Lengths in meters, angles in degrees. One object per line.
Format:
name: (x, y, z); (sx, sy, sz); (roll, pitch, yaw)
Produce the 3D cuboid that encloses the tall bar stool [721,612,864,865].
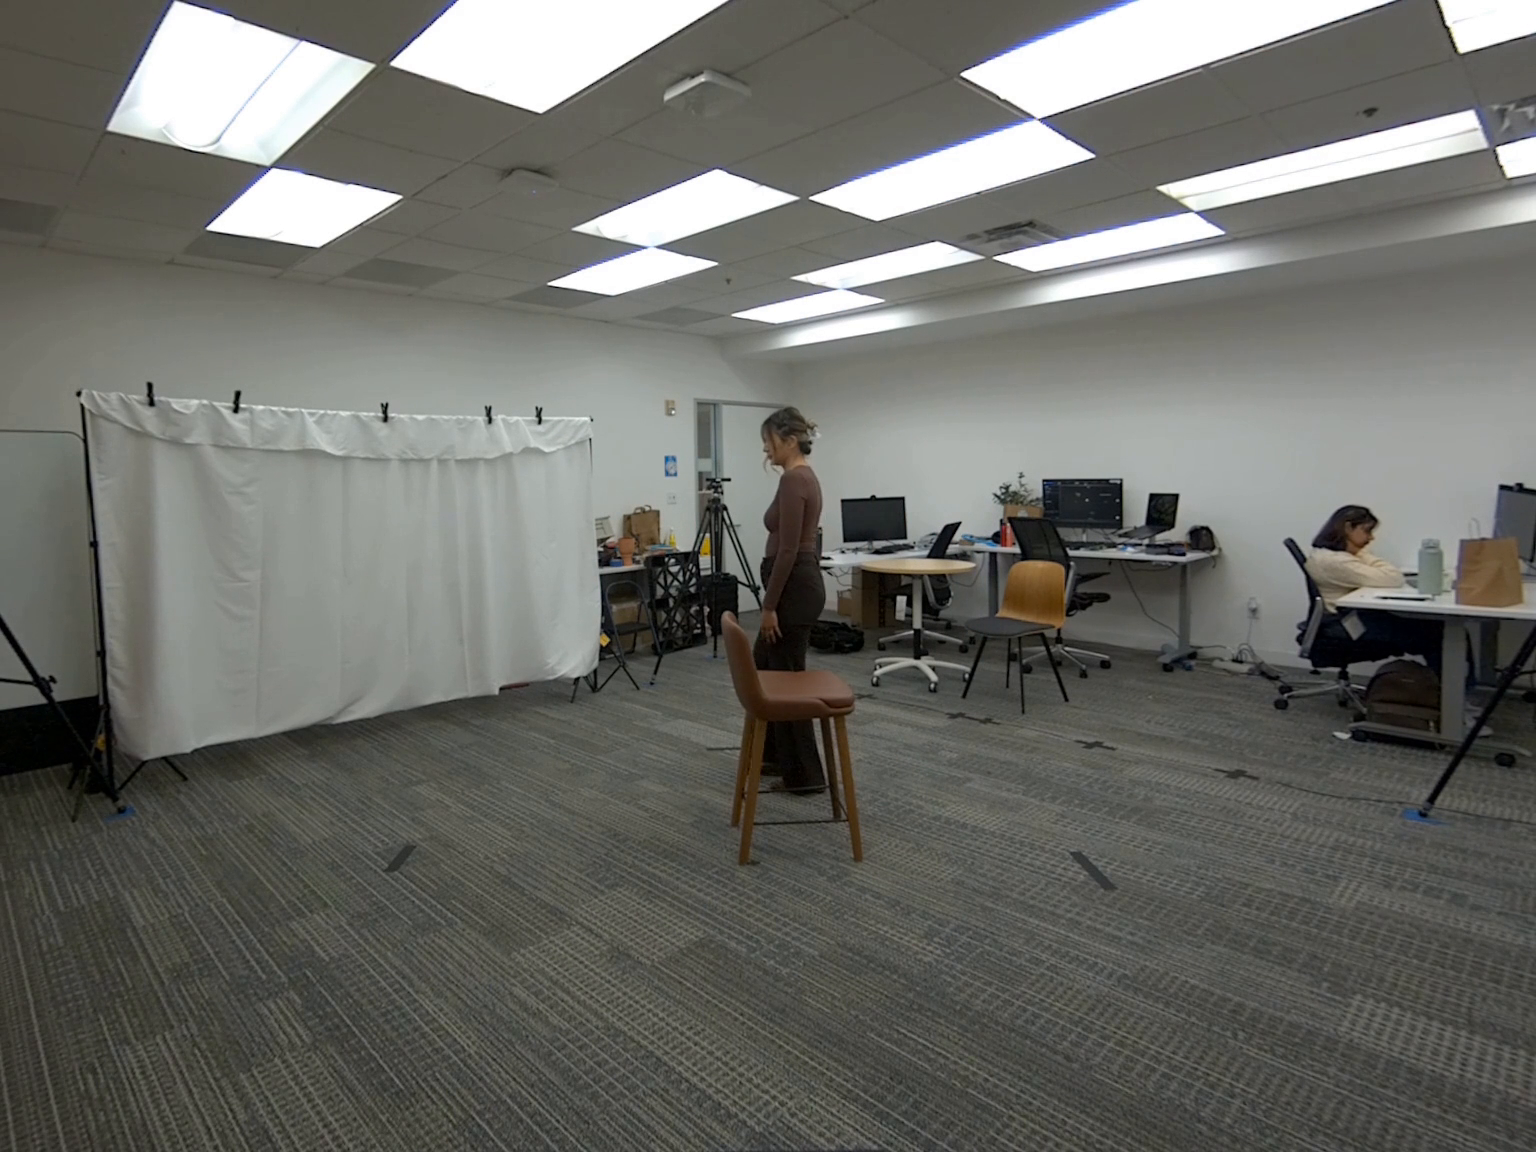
tall bar stool: (0.085, 0.595, 3.258); (0.465, 0.886, 0.460); (-2, 5, -5)
